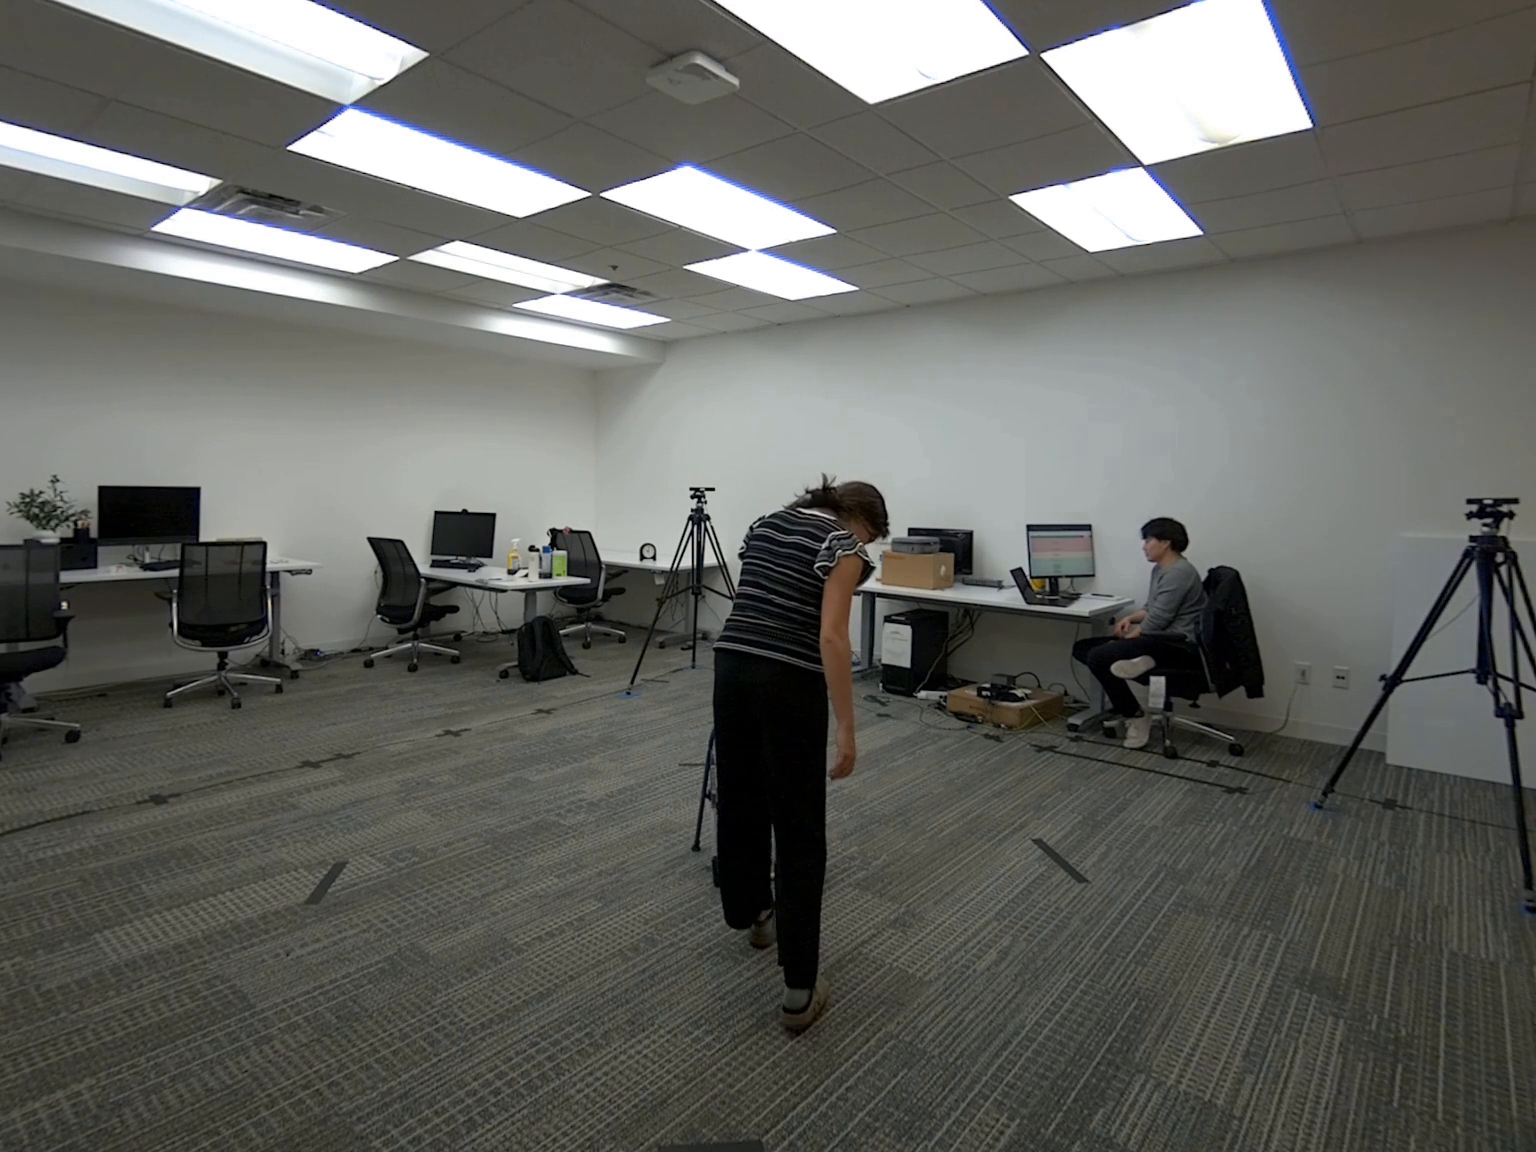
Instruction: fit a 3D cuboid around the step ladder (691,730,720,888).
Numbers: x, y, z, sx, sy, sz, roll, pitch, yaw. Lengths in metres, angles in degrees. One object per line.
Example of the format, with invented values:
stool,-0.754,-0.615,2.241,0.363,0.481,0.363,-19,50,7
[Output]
step ladder,-0.042,0.761,3.155,0.423,0.604,0.356,0,4,-17
